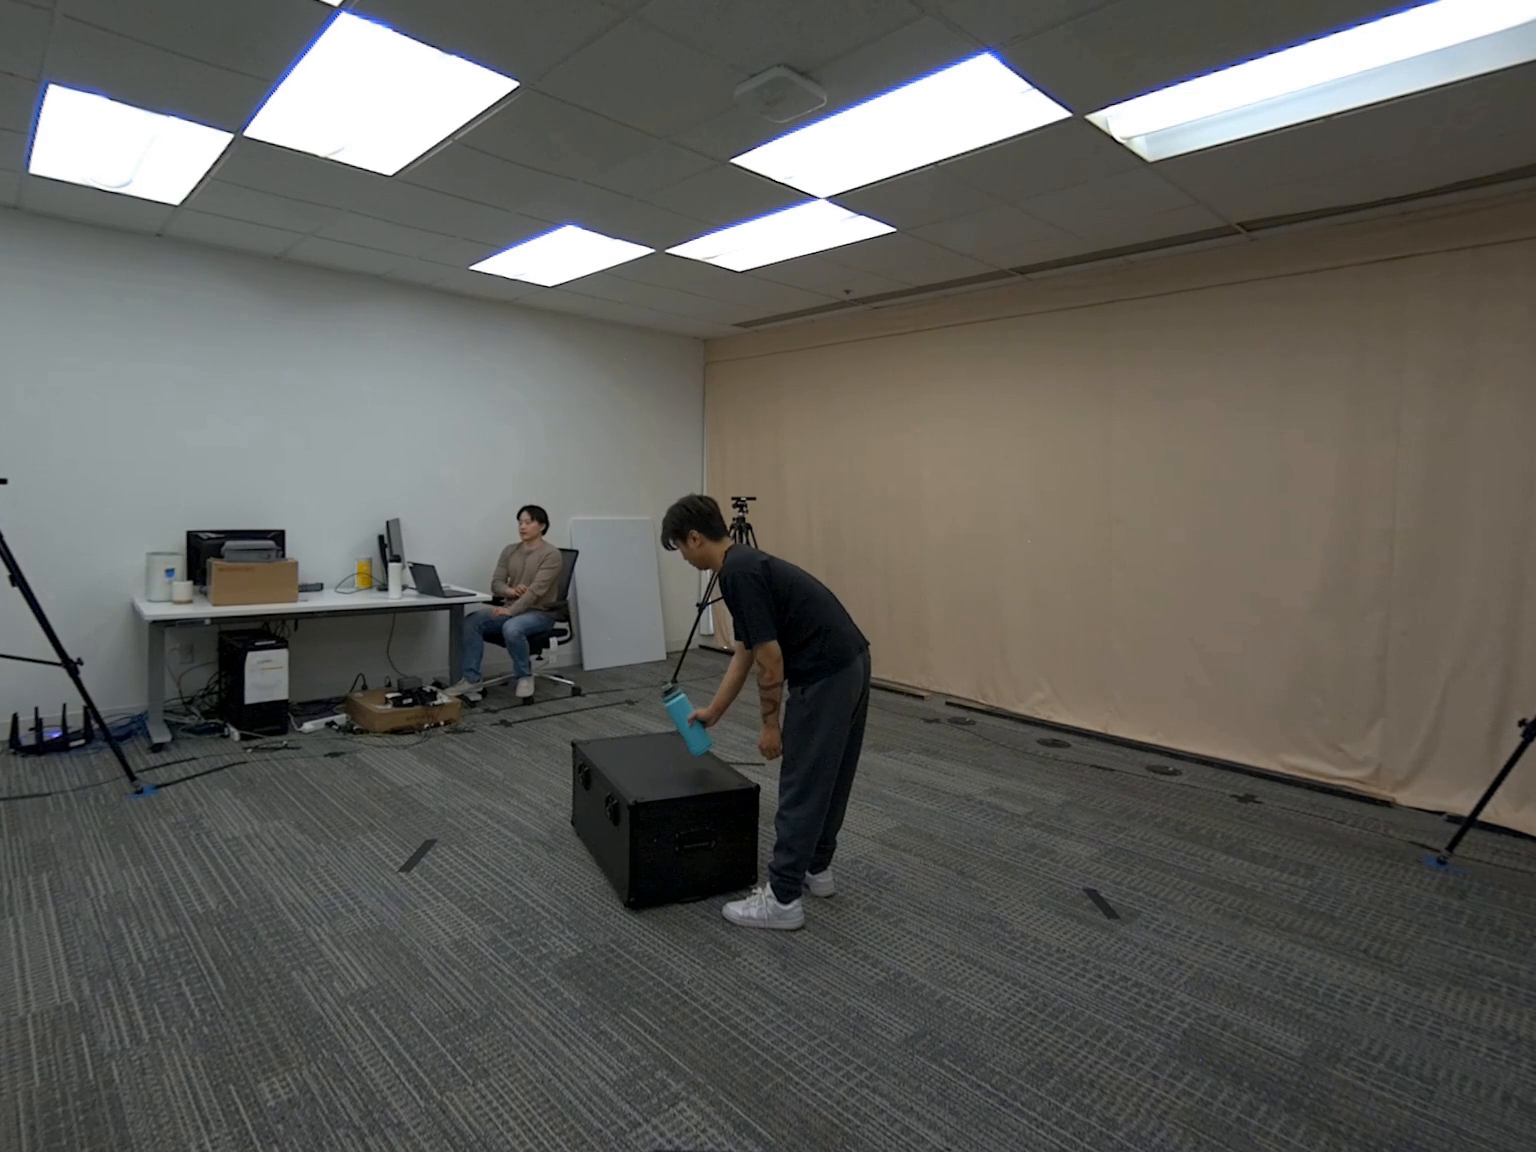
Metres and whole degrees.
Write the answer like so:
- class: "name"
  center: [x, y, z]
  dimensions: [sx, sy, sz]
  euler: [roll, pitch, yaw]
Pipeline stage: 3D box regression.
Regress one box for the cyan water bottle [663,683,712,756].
- class: "cyan water bottle"
  center: [-0.316, 0.535, 3.164]
  dimensions: [0.092, 0.284, 0.092]
  euler: [-30, -3, -3]
